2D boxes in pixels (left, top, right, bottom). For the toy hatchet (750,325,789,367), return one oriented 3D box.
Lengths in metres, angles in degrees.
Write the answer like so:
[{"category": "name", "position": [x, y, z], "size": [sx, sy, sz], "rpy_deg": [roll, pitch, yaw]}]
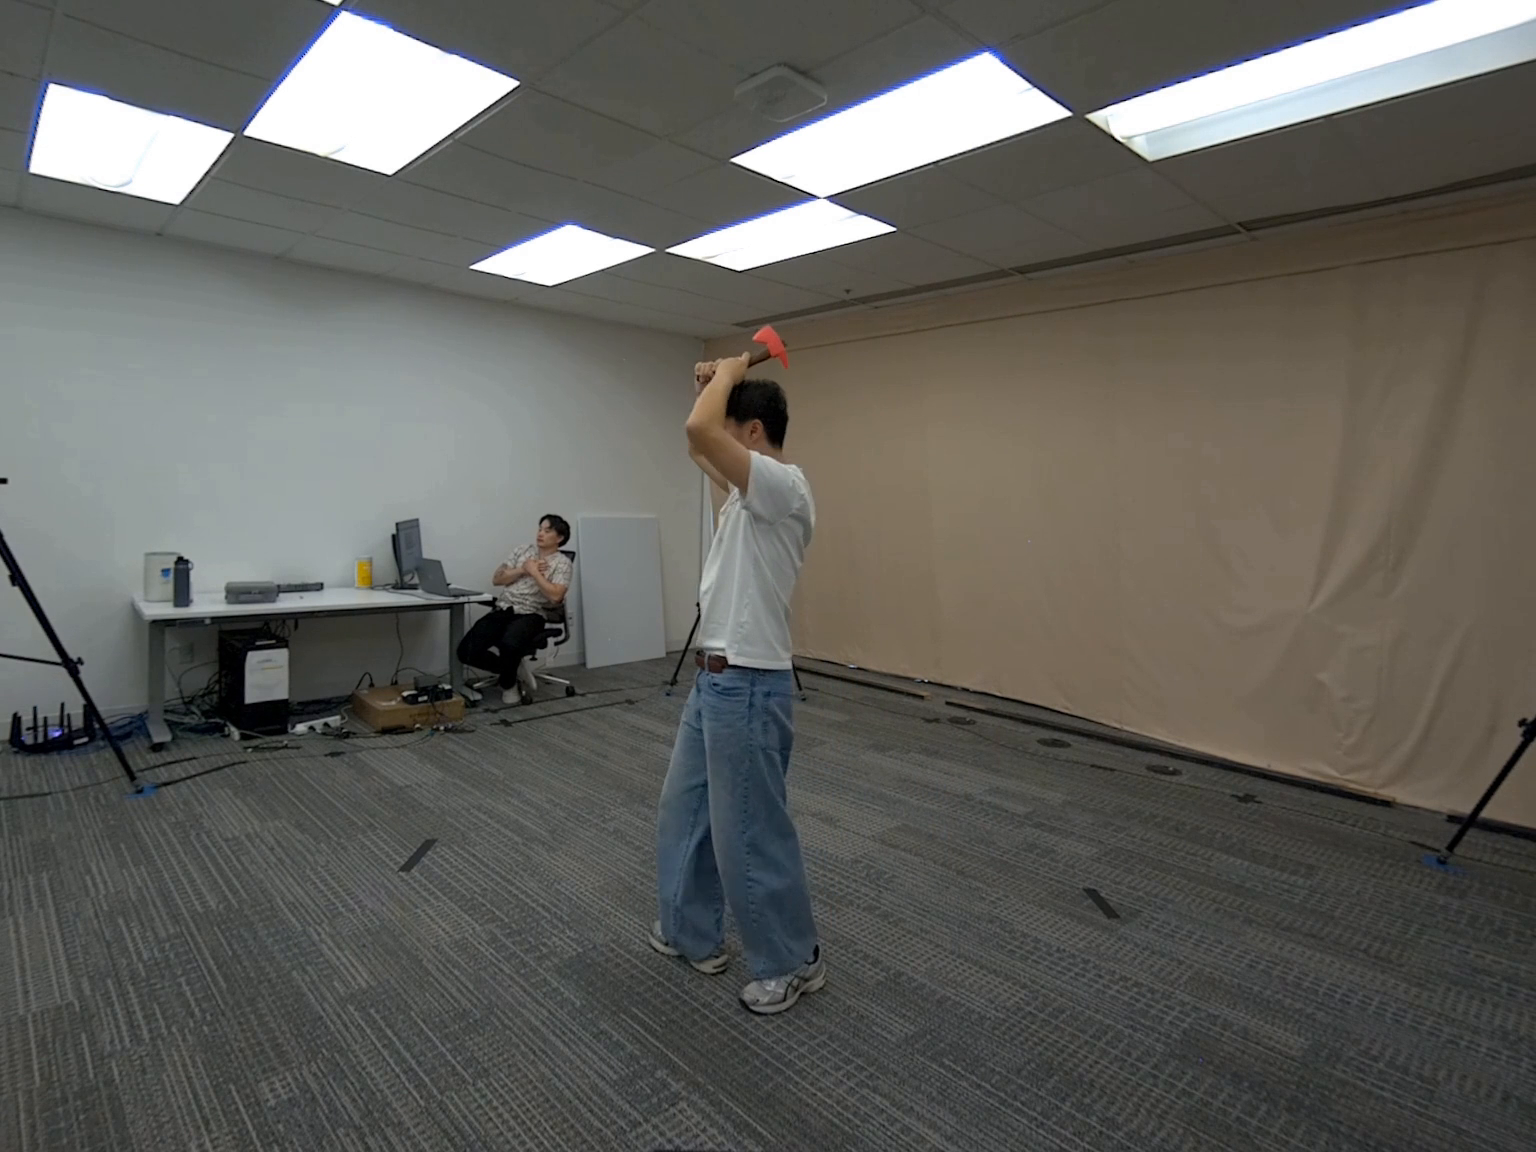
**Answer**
[{"category": "toy hatchet", "position": [-0.085, -0.636, 2.381], "size": [0.272, 0.131, 0.029], "rpy_deg": [-5, 1, 10]}]
